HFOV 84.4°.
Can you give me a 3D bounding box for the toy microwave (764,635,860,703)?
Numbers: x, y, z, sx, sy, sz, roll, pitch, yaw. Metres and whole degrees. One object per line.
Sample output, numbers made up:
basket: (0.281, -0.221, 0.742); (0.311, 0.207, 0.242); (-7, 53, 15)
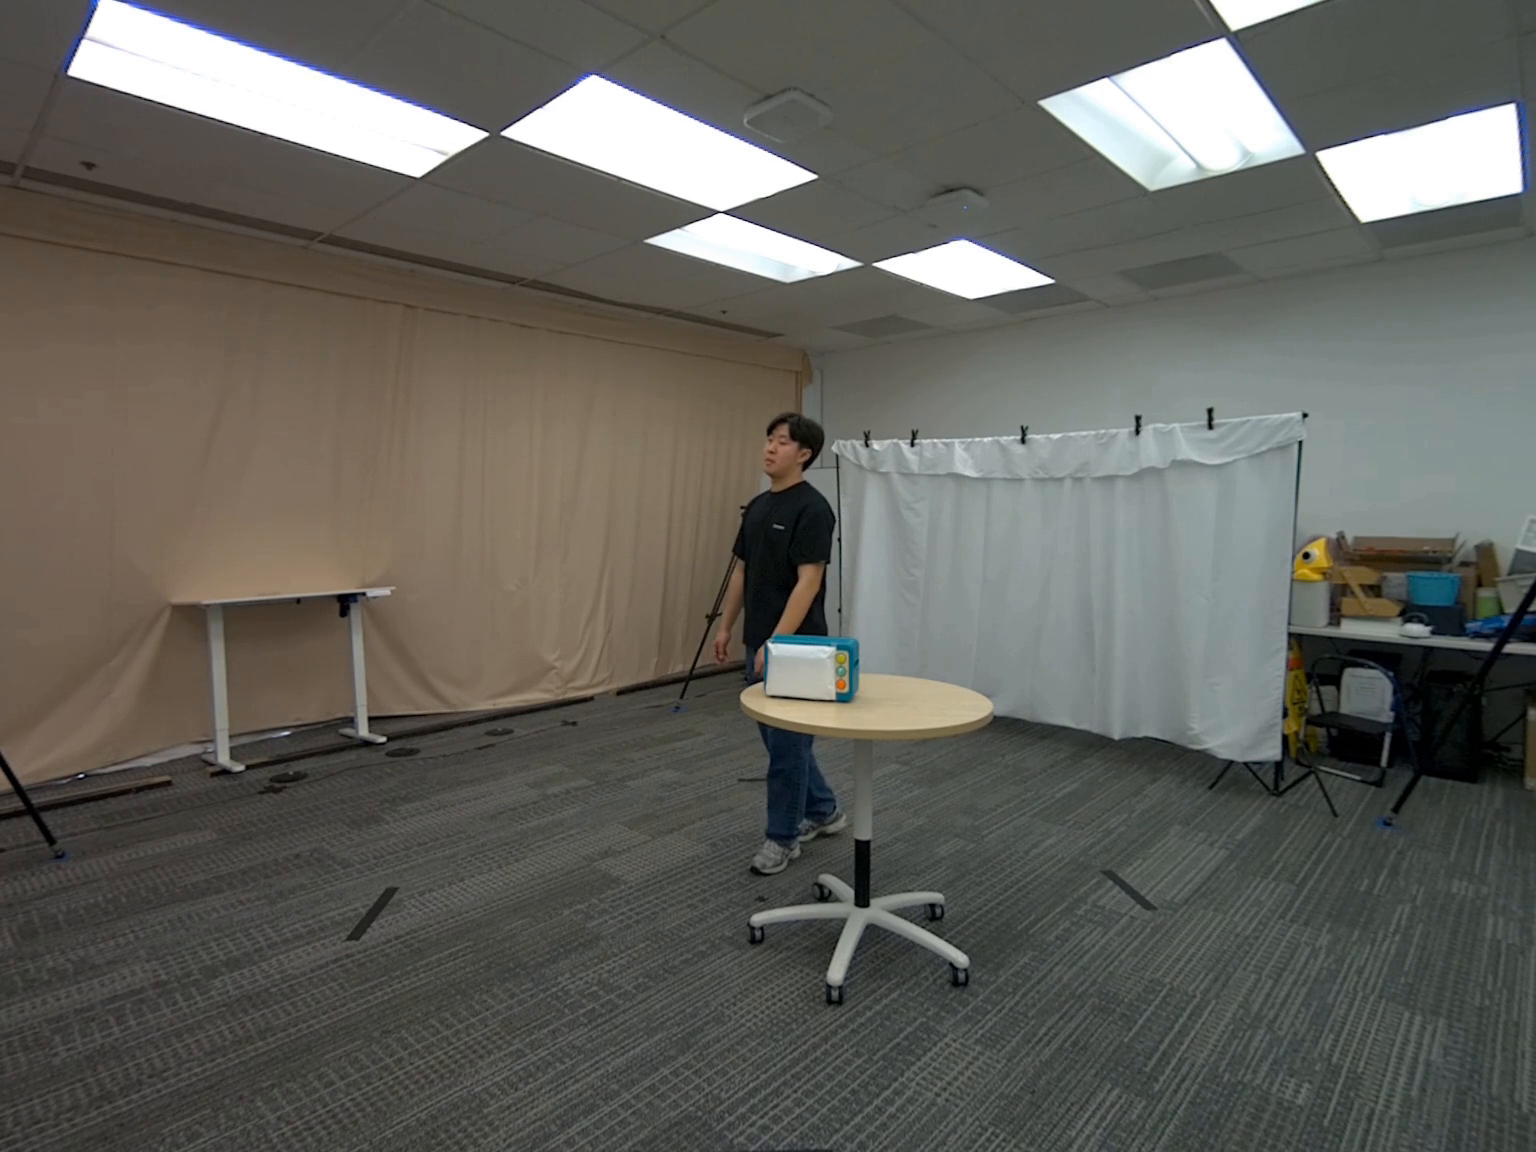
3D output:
toy microwave: (0.129, 0.282, 2.614); (0.291, 0.184, 0.150); (1, 4, 17)
